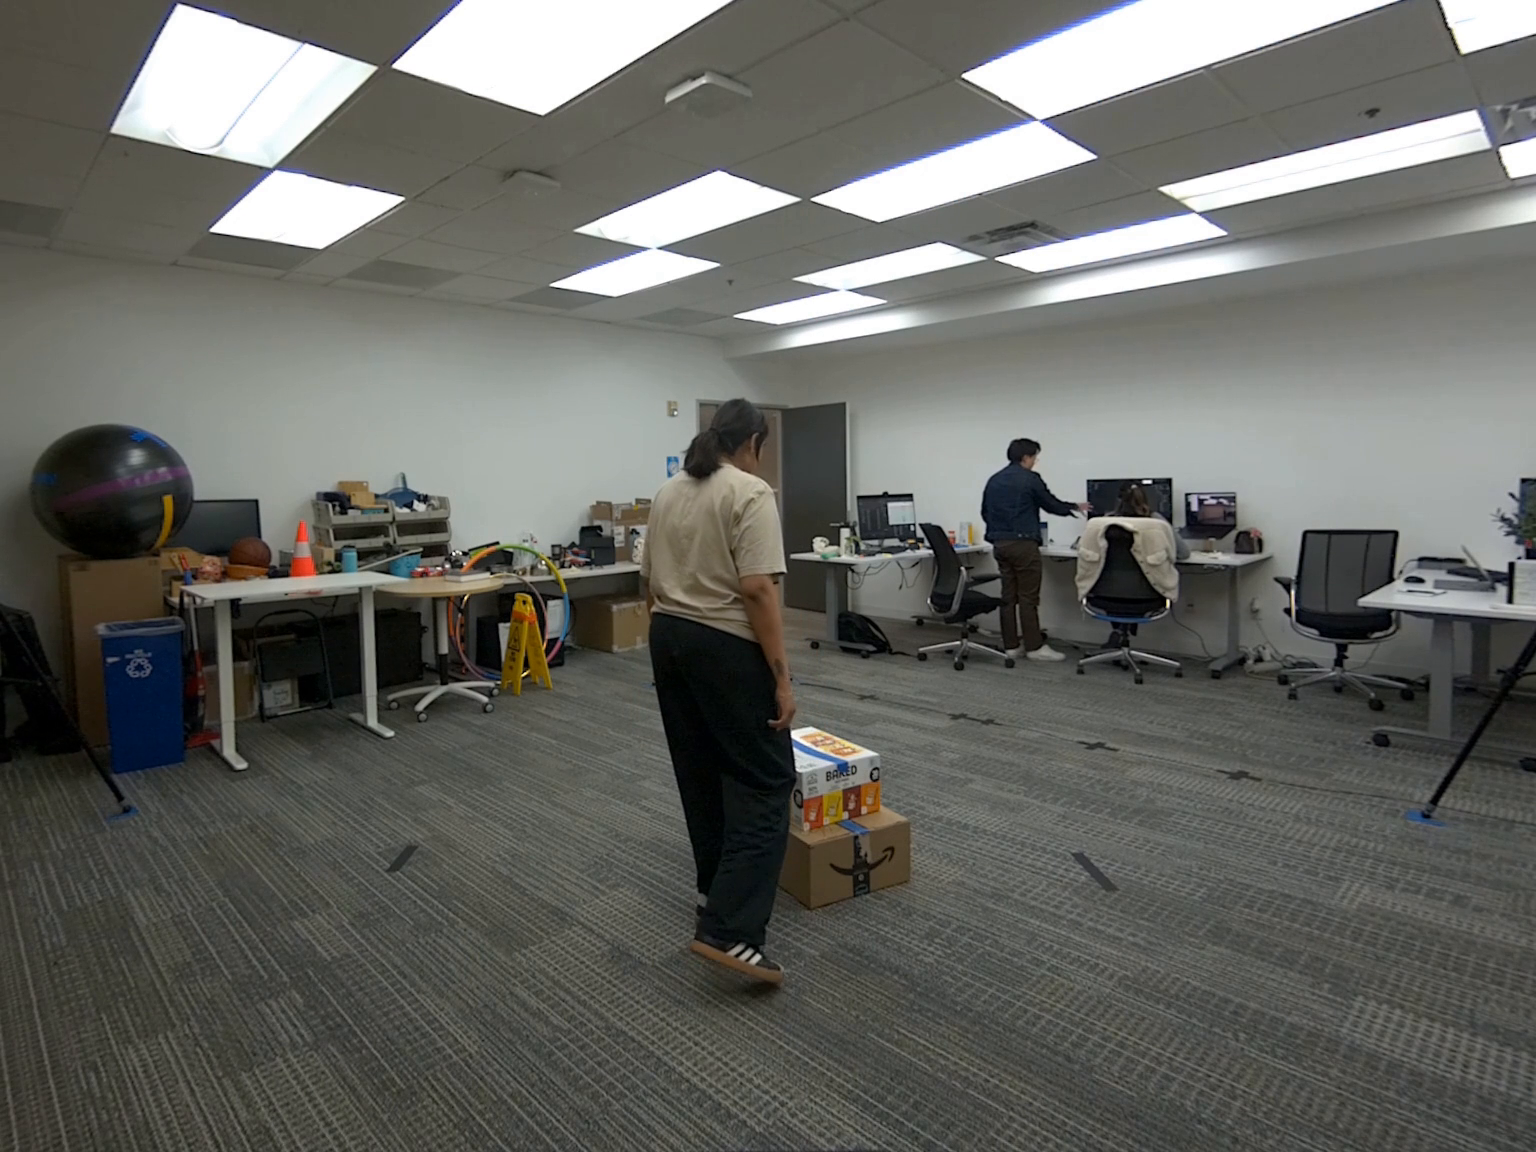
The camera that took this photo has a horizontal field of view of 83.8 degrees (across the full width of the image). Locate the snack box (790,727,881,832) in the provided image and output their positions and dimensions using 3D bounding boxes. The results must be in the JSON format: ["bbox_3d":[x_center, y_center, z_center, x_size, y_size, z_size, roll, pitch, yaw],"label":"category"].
[{"bbox_3d":[0.144,0.727,3.112,0.332,0.205,0.417,-5,7,-32],"label":"snack box"}]
